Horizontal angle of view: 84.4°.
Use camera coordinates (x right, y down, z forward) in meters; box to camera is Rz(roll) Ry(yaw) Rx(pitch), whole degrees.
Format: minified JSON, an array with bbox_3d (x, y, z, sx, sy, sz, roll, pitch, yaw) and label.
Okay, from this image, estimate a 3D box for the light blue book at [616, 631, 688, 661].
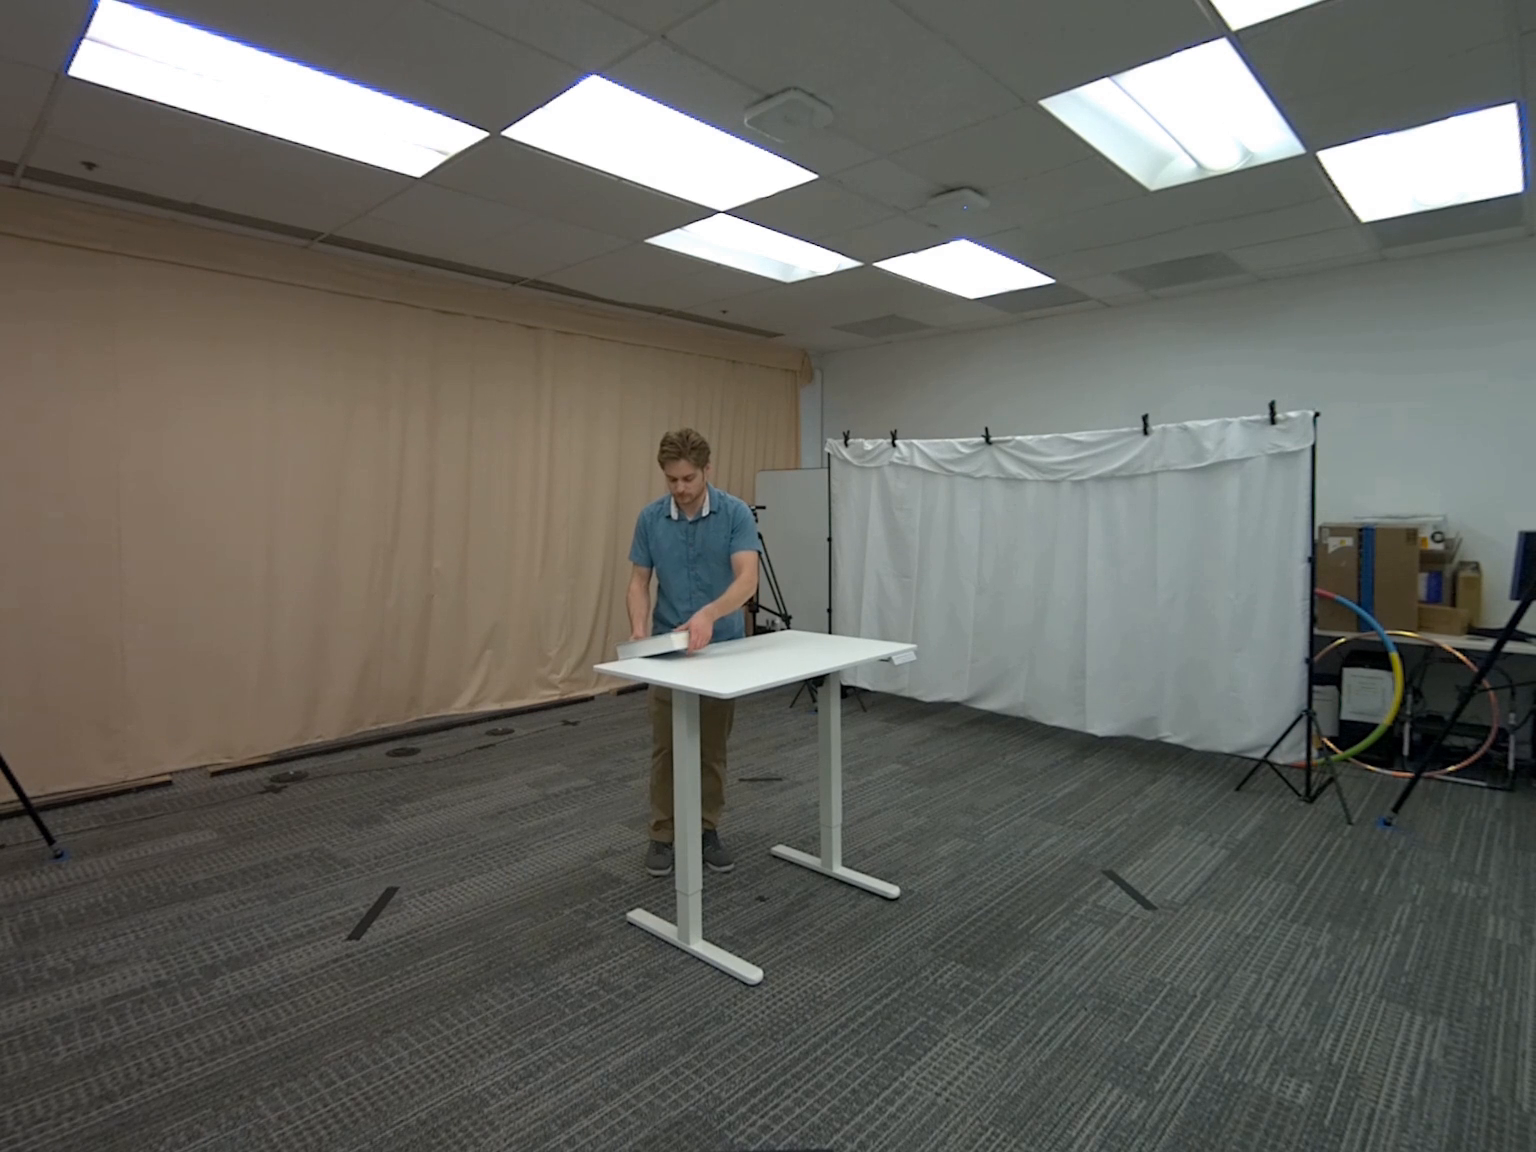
[{"bbox_3d":[-0.378,0.224,2.913,0.268,0.059,0.186,-14,-5,38],"label":"light blue book"}]
